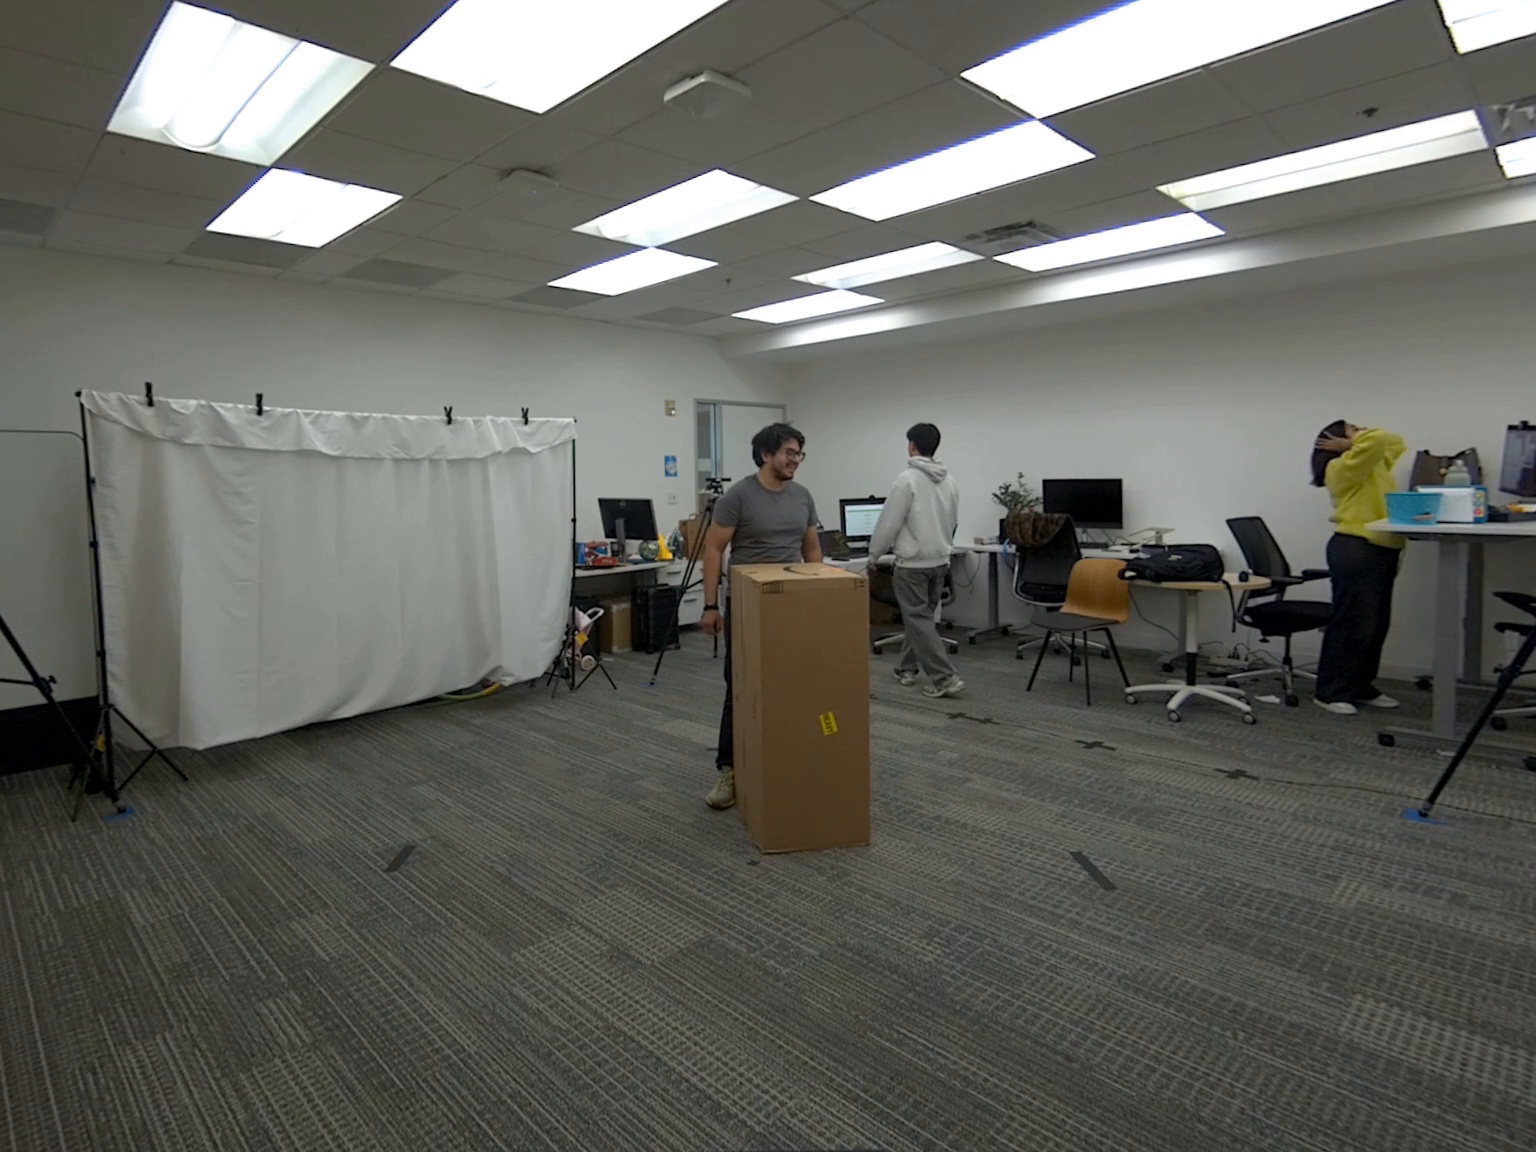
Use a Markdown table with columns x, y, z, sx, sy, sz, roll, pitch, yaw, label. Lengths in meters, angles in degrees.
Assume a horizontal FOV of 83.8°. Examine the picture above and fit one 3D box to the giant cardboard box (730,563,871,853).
| x | y | z | sx | sy | sz | roll | pitch | yaw | label |
| --- | --- | --- | --- | --- | --- | --- | --- | --- | --- |
| 0.121 | 0.494 | 3.454 | 0.442 | 1.024 | 0.592 | -2 | 4 | -12 | giant cardboard box |
